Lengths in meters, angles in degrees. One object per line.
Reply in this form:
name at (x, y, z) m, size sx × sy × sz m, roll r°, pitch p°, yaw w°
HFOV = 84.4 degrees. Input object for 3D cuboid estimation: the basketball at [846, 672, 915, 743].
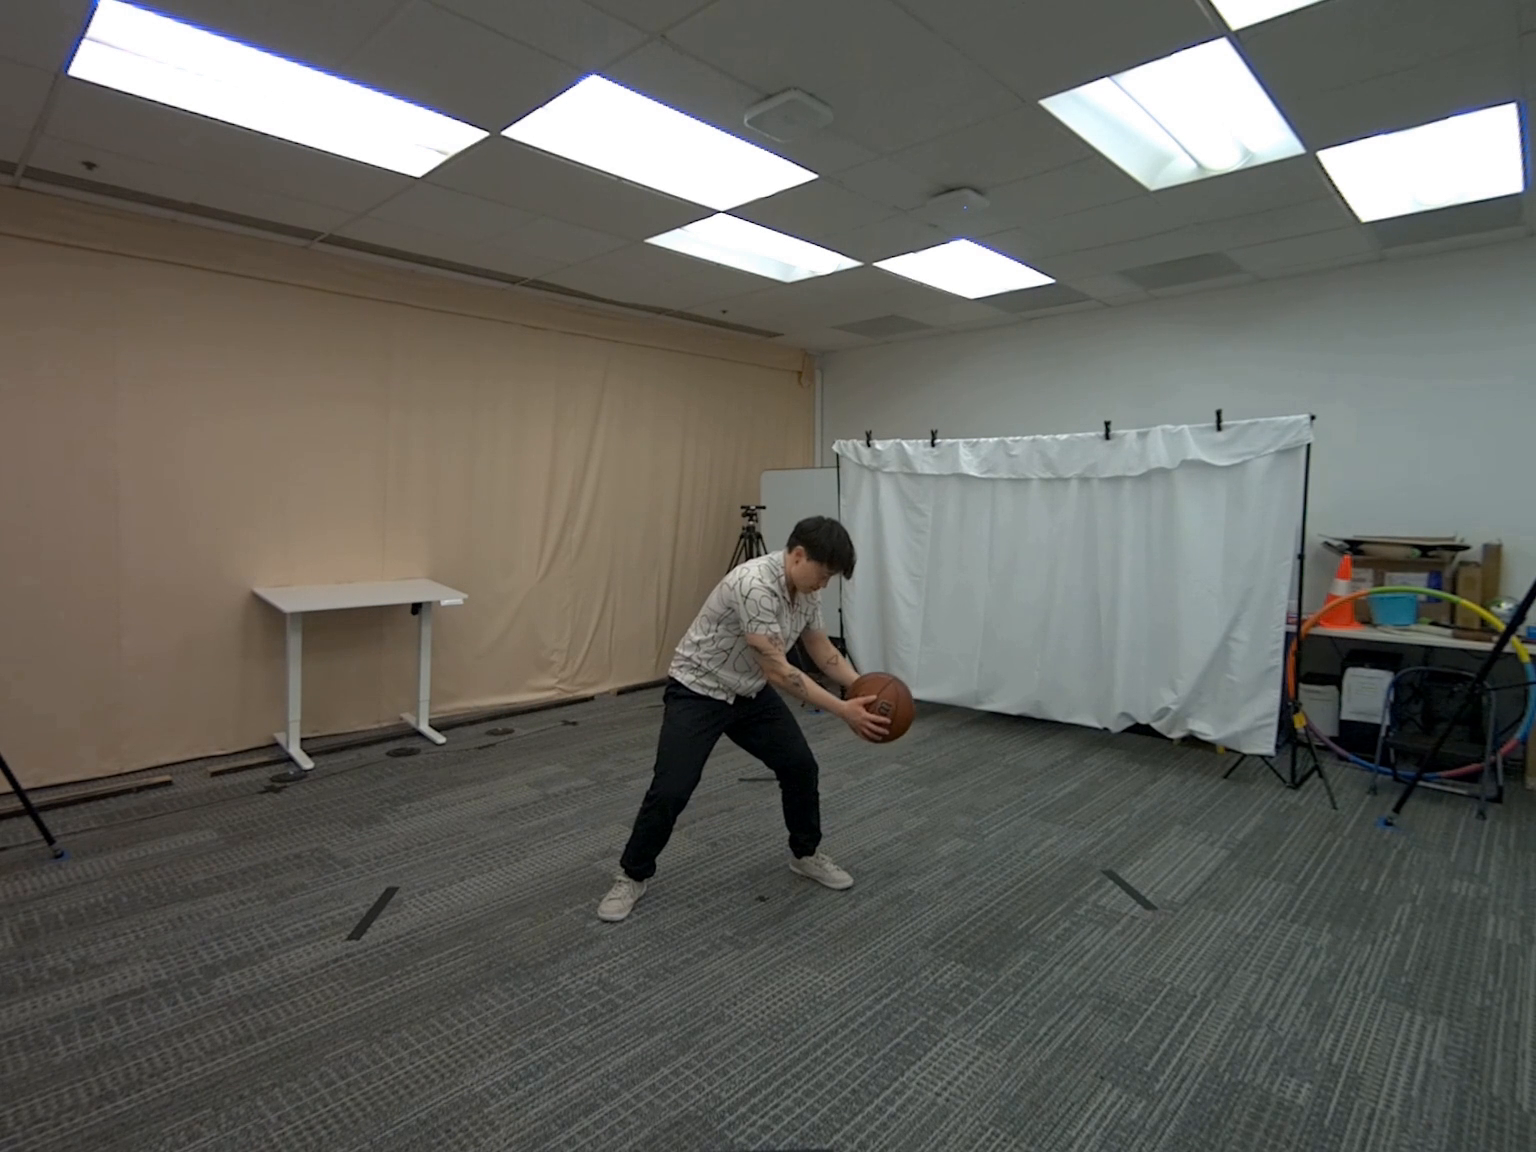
basketball at (0.379, 0.446, 2.854) m, size 0.236 × 0.235 × 0.237 m, roll 0°, pitch 4°, yaw -2°
